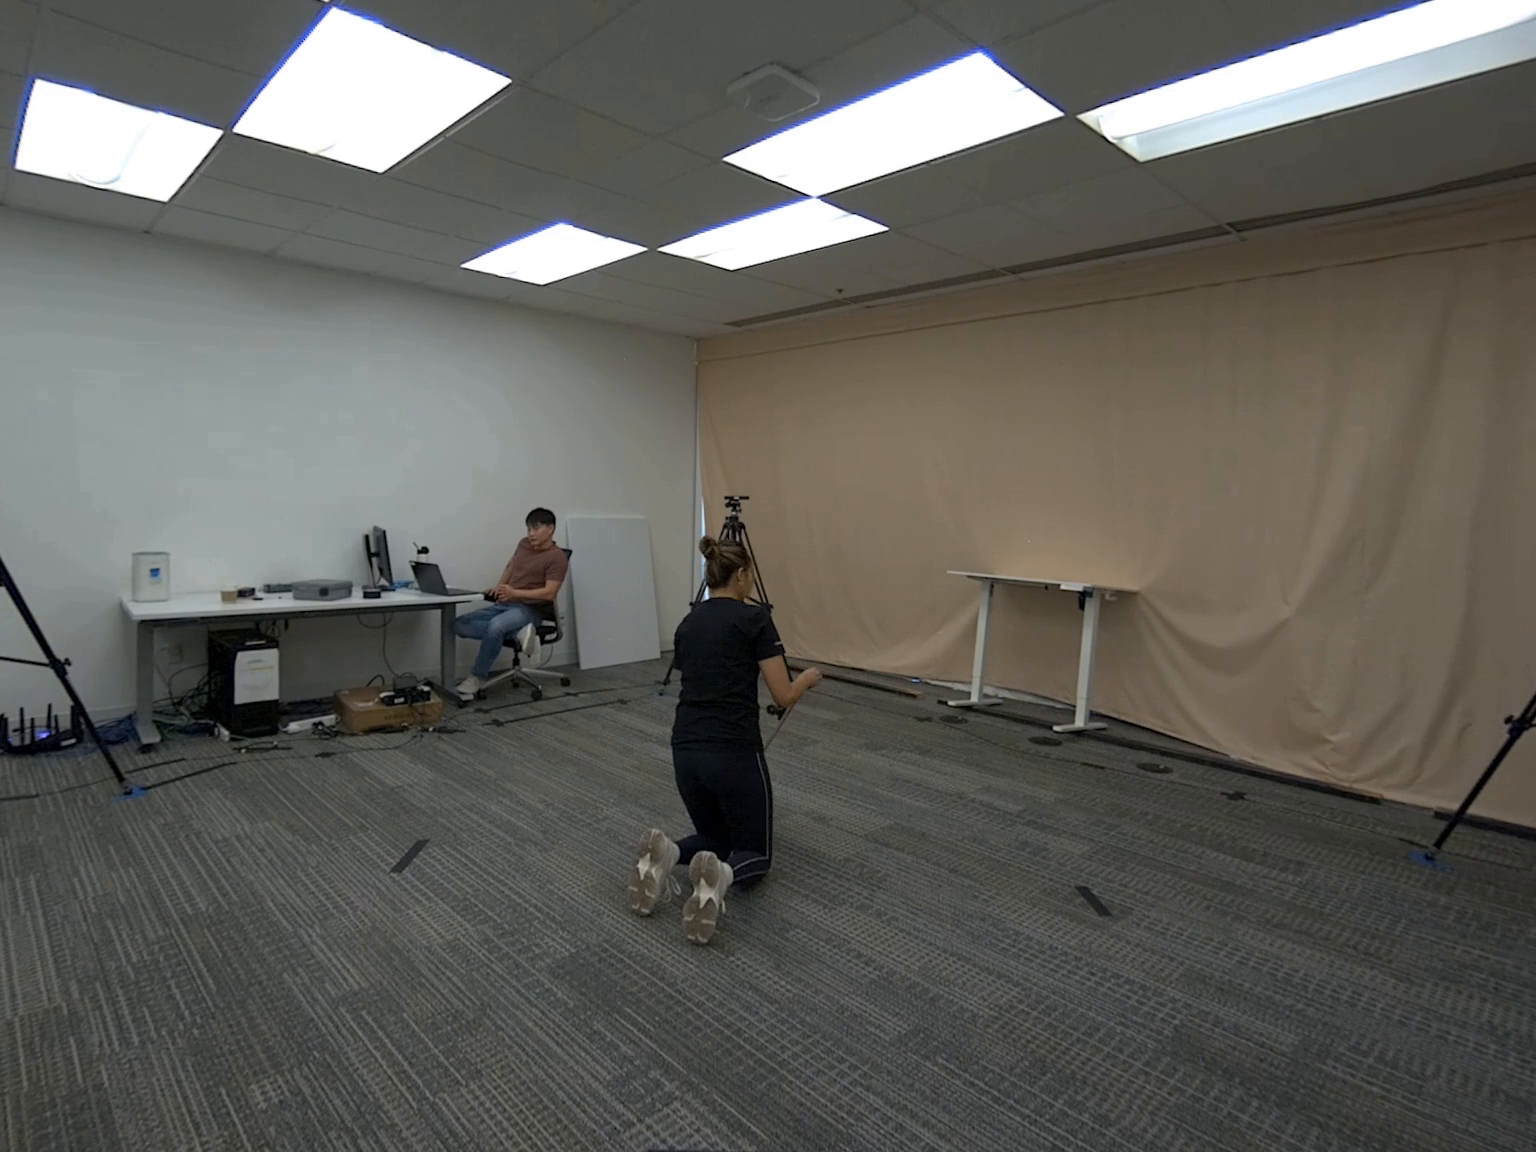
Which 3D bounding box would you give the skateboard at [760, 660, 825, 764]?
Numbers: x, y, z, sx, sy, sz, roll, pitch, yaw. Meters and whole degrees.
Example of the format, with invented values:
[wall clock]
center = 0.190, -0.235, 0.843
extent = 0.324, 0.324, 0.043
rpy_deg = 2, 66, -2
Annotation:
[skateboard]
center = -0.039, 0.713, 3.479
extent = 0.111, 0.783, 0.192
rpy_deg = 33, 11, 6
